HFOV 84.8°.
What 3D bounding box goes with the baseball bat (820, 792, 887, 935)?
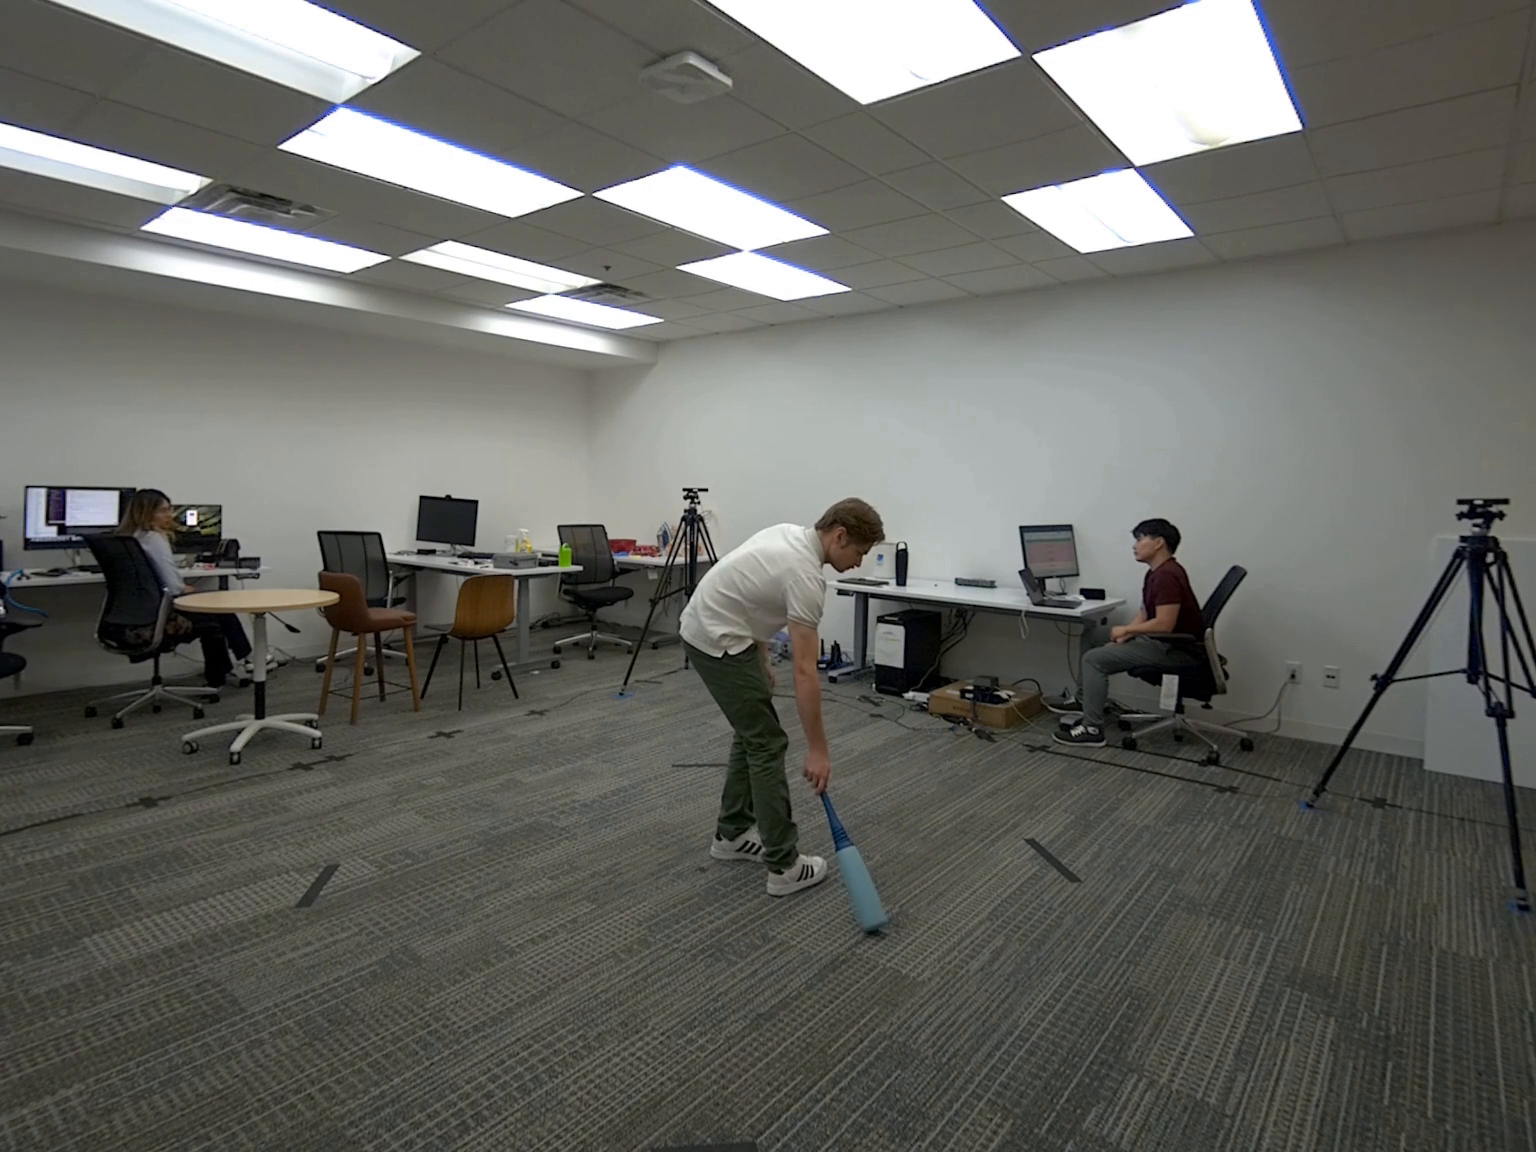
[{"bbox_3d":[0.258,0.887,2.822,0.088,0.562,0.087,-16,-31,-11],"label":"baseball bat"}]
